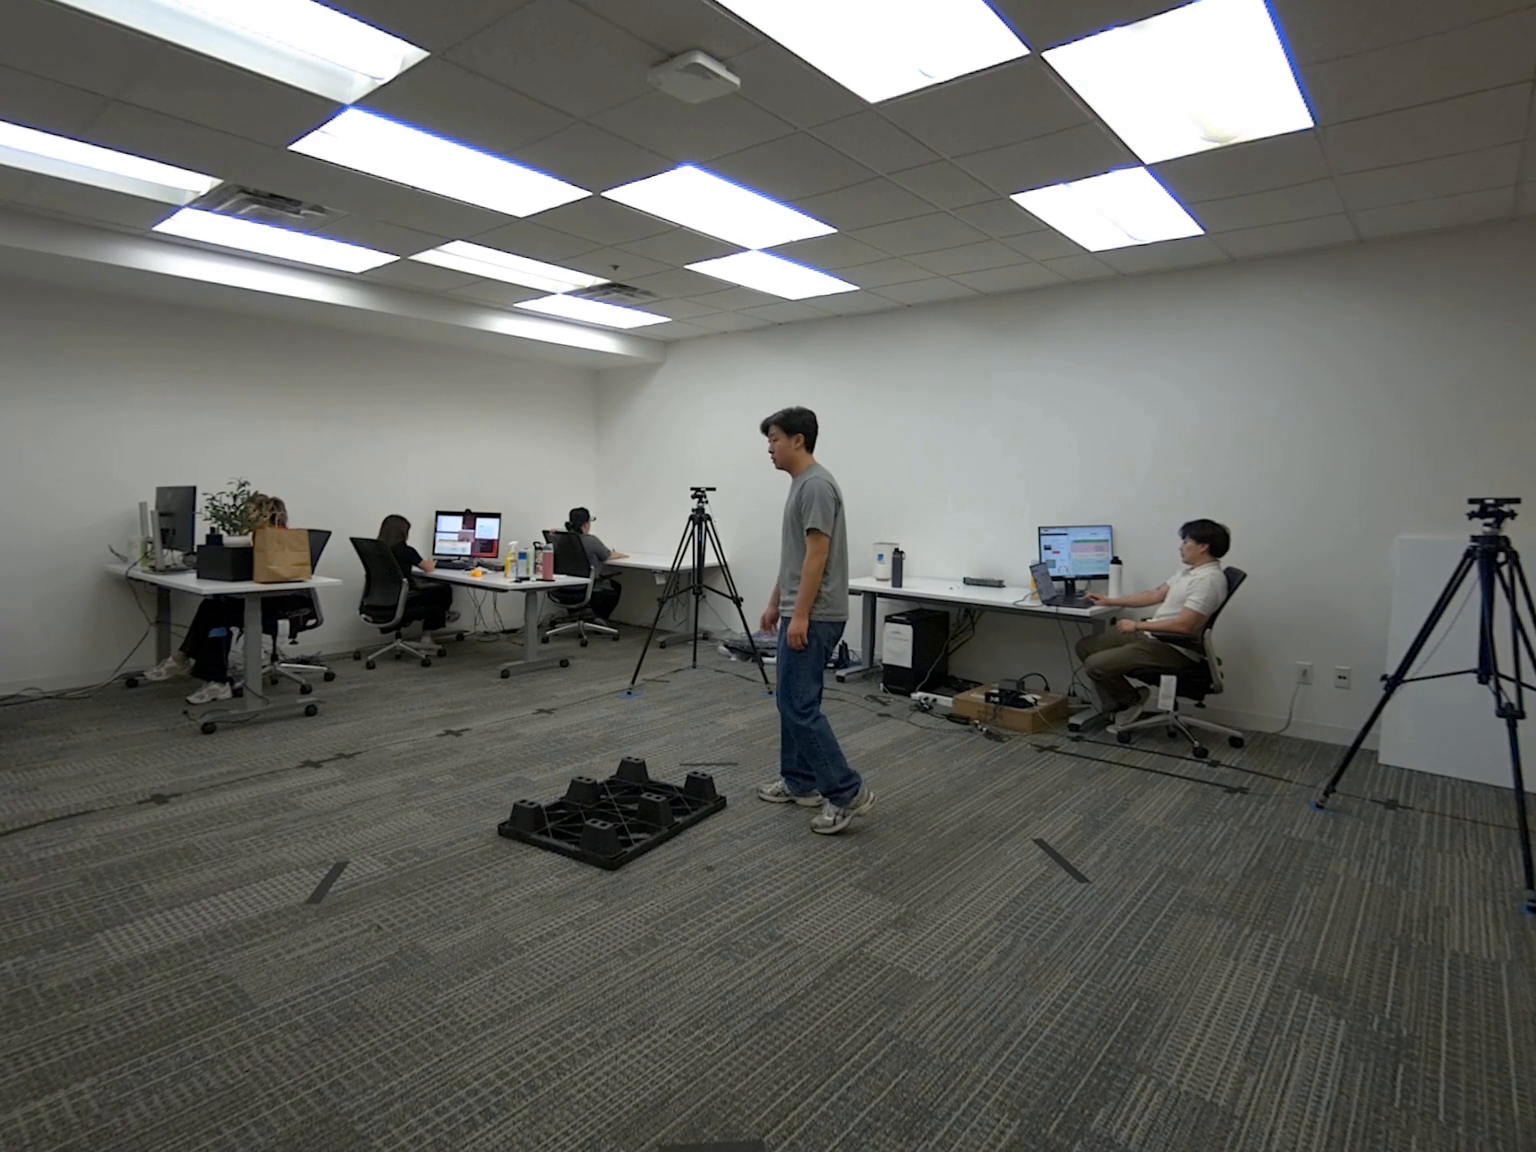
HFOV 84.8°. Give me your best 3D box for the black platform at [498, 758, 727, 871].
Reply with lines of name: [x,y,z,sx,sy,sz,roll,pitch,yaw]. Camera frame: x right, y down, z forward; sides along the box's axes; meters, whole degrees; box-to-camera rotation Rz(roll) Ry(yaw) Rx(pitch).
black platform: [-0.639,0.949,3.557,0.623,0.143,0.785,4,6,30]
